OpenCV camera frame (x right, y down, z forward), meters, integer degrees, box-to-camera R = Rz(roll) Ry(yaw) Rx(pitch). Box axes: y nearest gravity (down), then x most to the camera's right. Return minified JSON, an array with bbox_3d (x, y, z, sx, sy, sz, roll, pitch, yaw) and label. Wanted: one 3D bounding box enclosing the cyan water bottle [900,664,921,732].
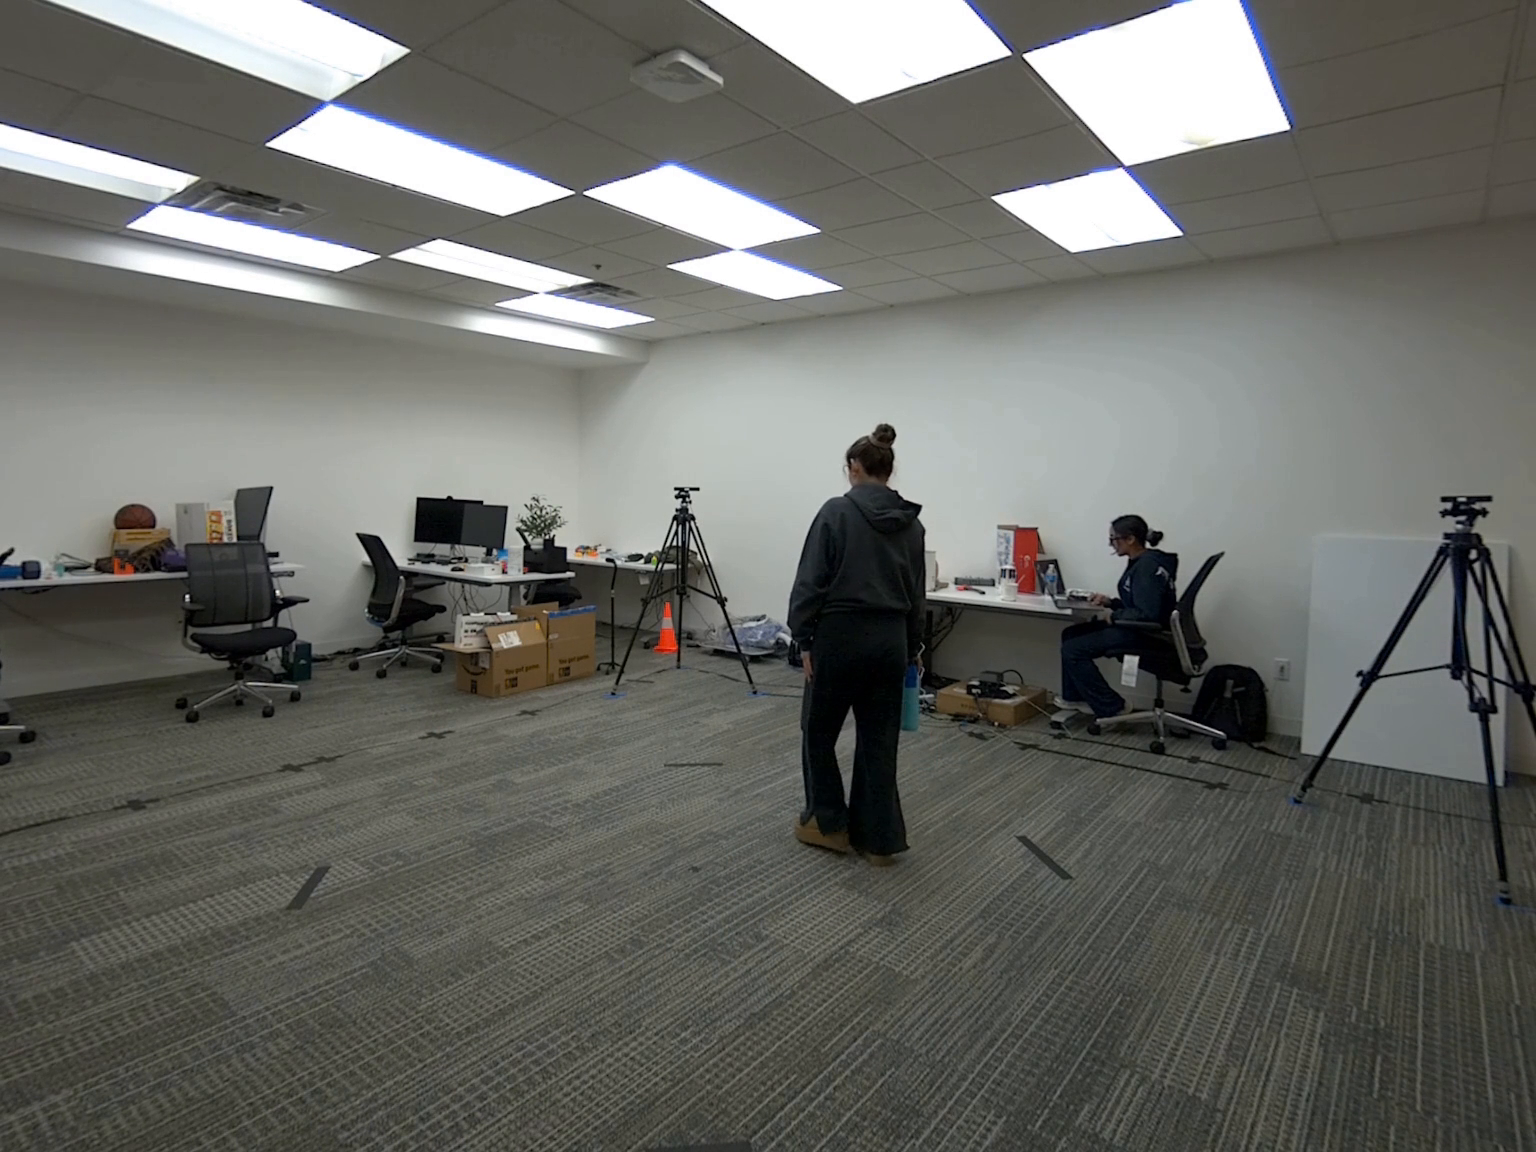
[{"bbox_3d":[0.551,0.467,3.410,0.092,0.283,0.093,2,3,-2],"label":"cyan water bottle"}]
